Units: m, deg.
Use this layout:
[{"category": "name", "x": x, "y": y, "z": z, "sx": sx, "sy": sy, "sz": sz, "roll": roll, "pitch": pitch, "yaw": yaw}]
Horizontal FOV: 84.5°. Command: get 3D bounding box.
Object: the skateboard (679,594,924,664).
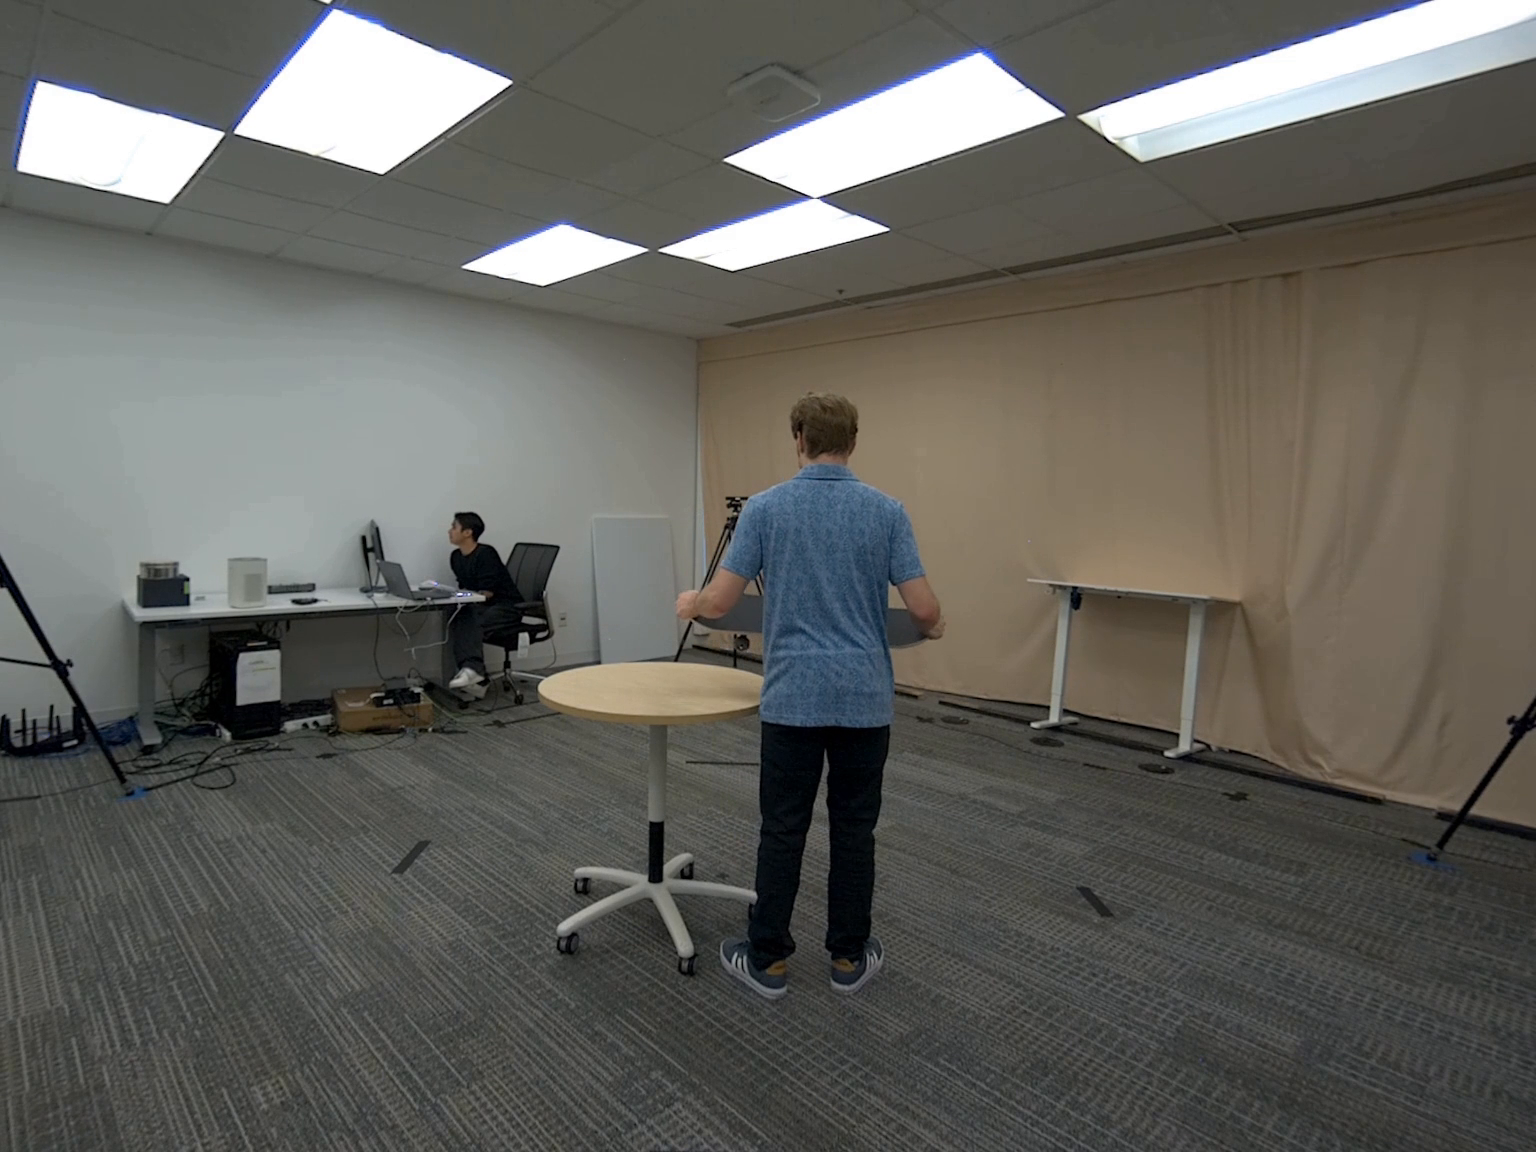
[{"category": "skateboard", "x": 0.114, "y": 0.169, "z": 2.670, "sx": 0.789, "sy": 0.108, "sz": 0.196, "roll": 6, "pitch": 35, "yaw": 5}]
